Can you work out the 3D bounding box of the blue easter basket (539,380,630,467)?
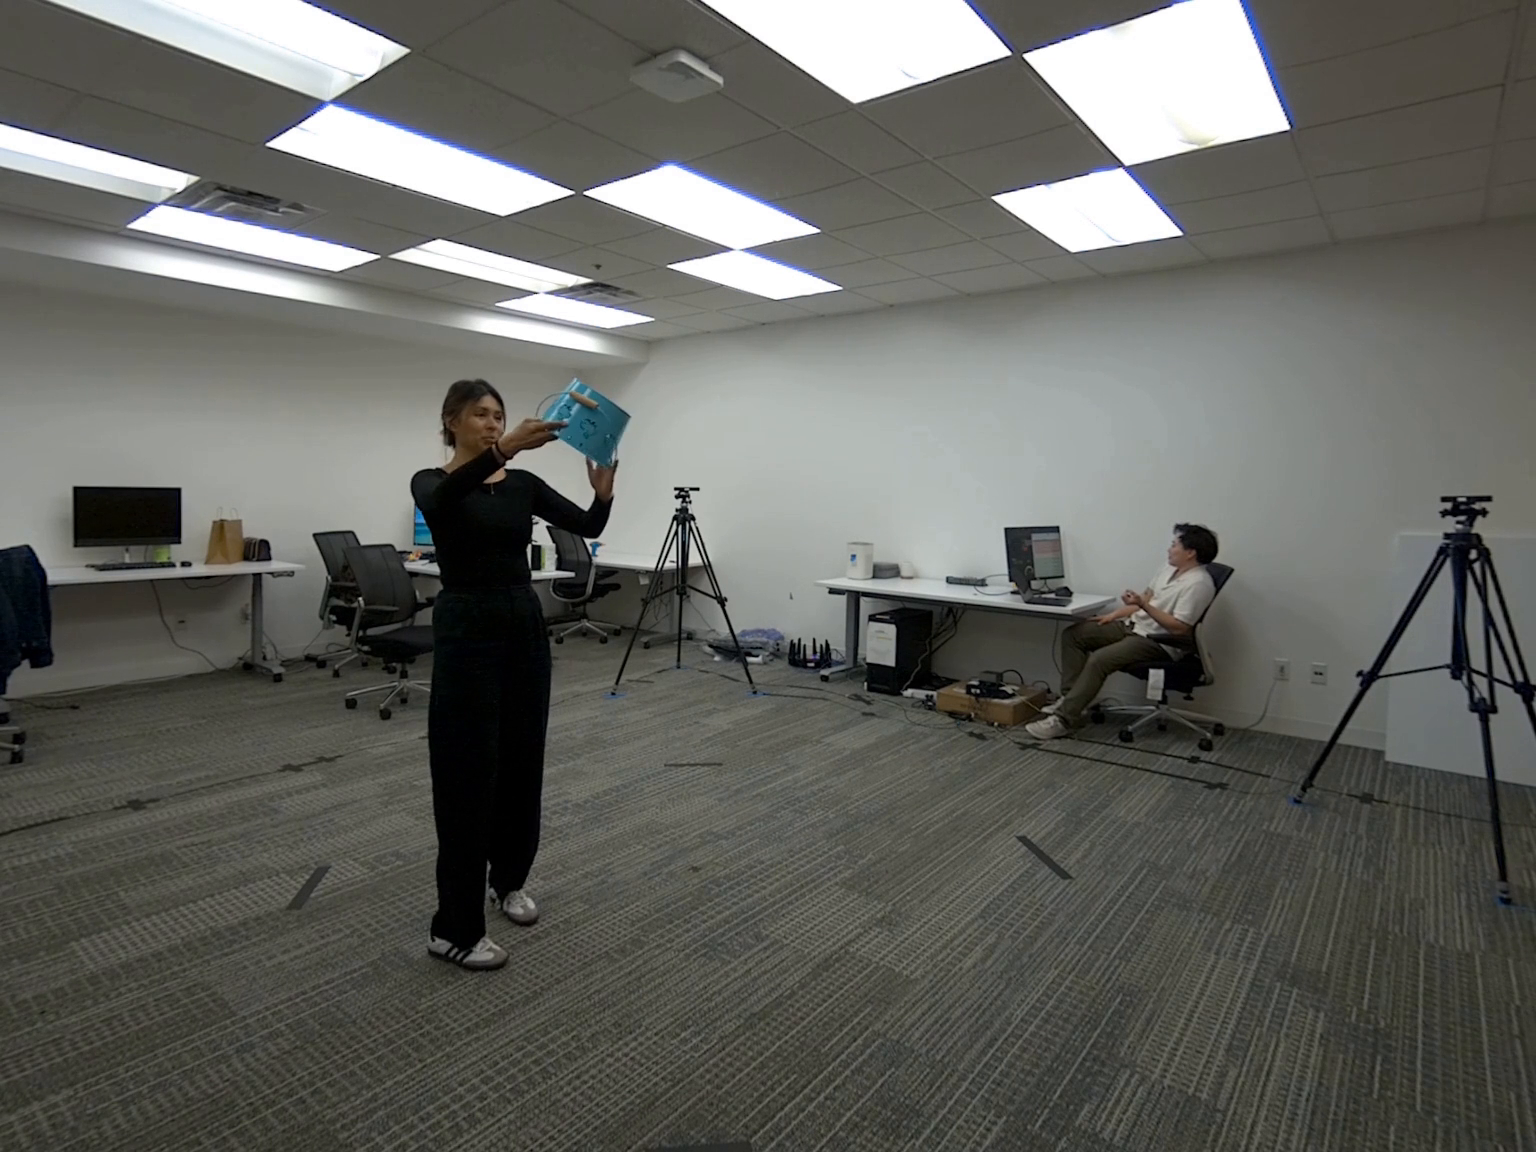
[{"bbox_3d":[-0.487,-0.407,2.254,0.243,0.156,0.244,34,2,-3],"label":"blue easter basket"}]
